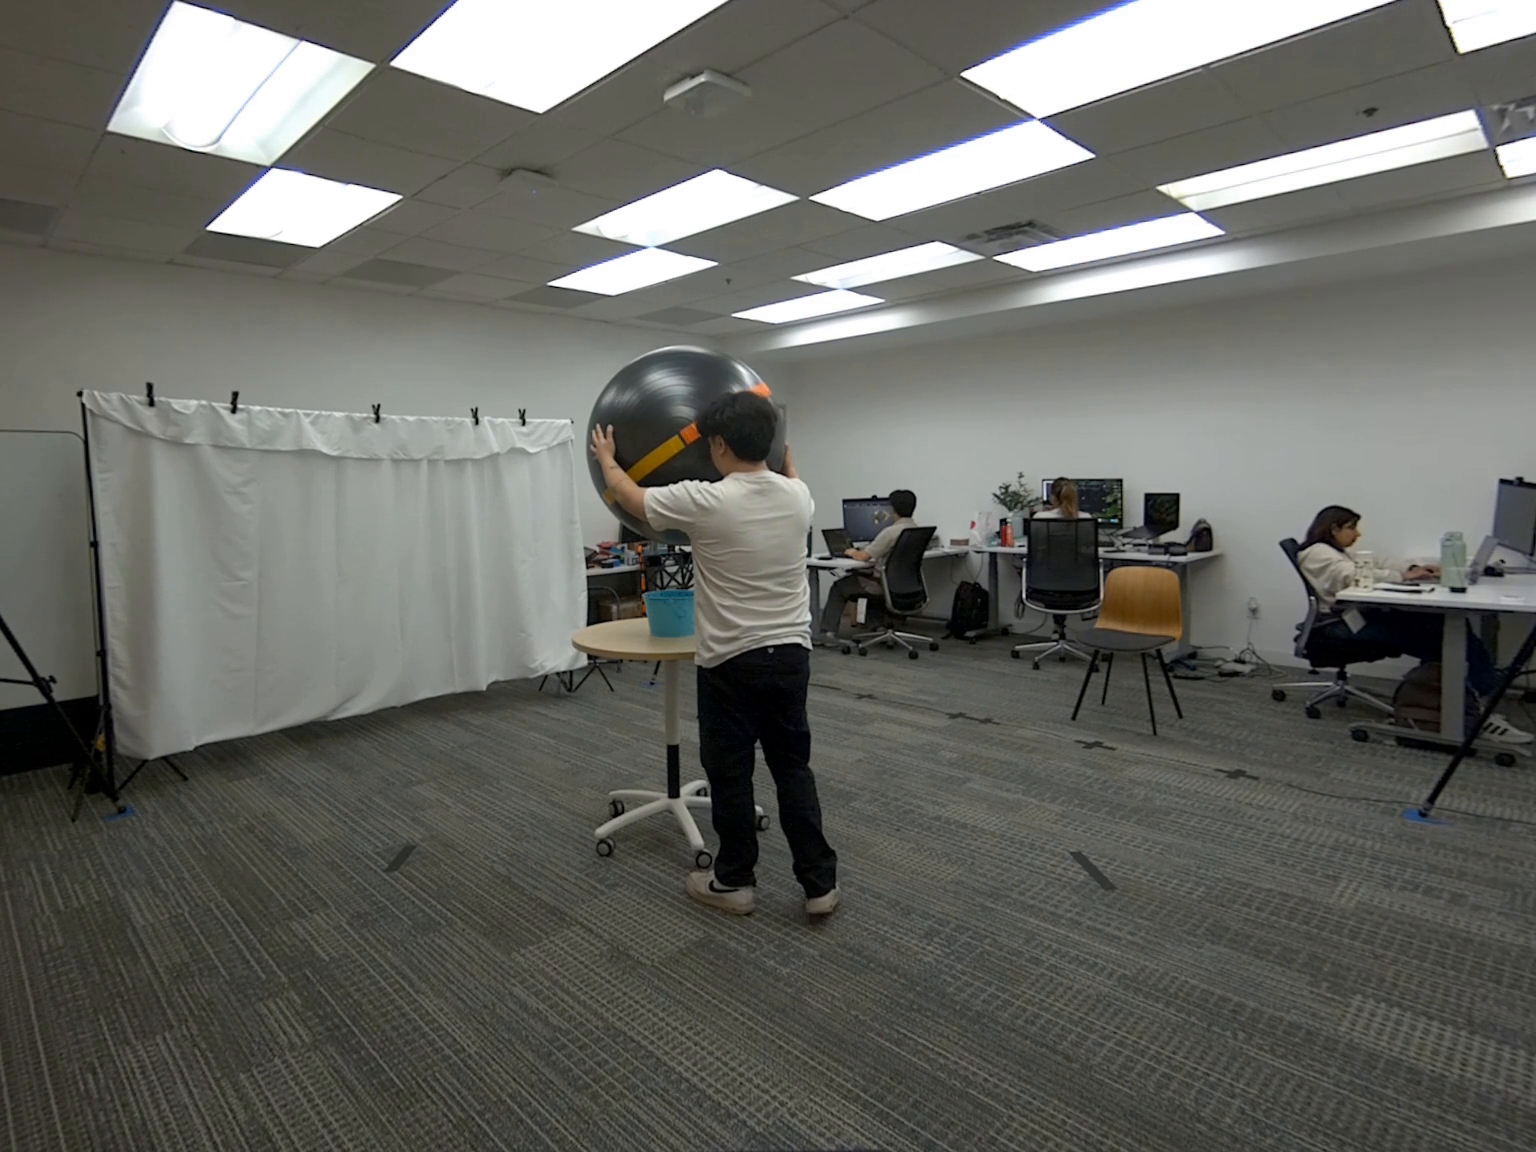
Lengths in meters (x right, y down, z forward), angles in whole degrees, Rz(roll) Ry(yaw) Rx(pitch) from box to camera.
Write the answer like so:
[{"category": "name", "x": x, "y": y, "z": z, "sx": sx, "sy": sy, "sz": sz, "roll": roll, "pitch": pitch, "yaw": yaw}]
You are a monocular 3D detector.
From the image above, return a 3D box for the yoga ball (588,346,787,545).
[{"category": "yoga ball", "x": -0.310, "y": -0.489, "z": 3.267, "sx": 0.757, "sy": 0.755, "sz": 0.762, "roll": -1, "pitch": 5, "yaw": -2}]
